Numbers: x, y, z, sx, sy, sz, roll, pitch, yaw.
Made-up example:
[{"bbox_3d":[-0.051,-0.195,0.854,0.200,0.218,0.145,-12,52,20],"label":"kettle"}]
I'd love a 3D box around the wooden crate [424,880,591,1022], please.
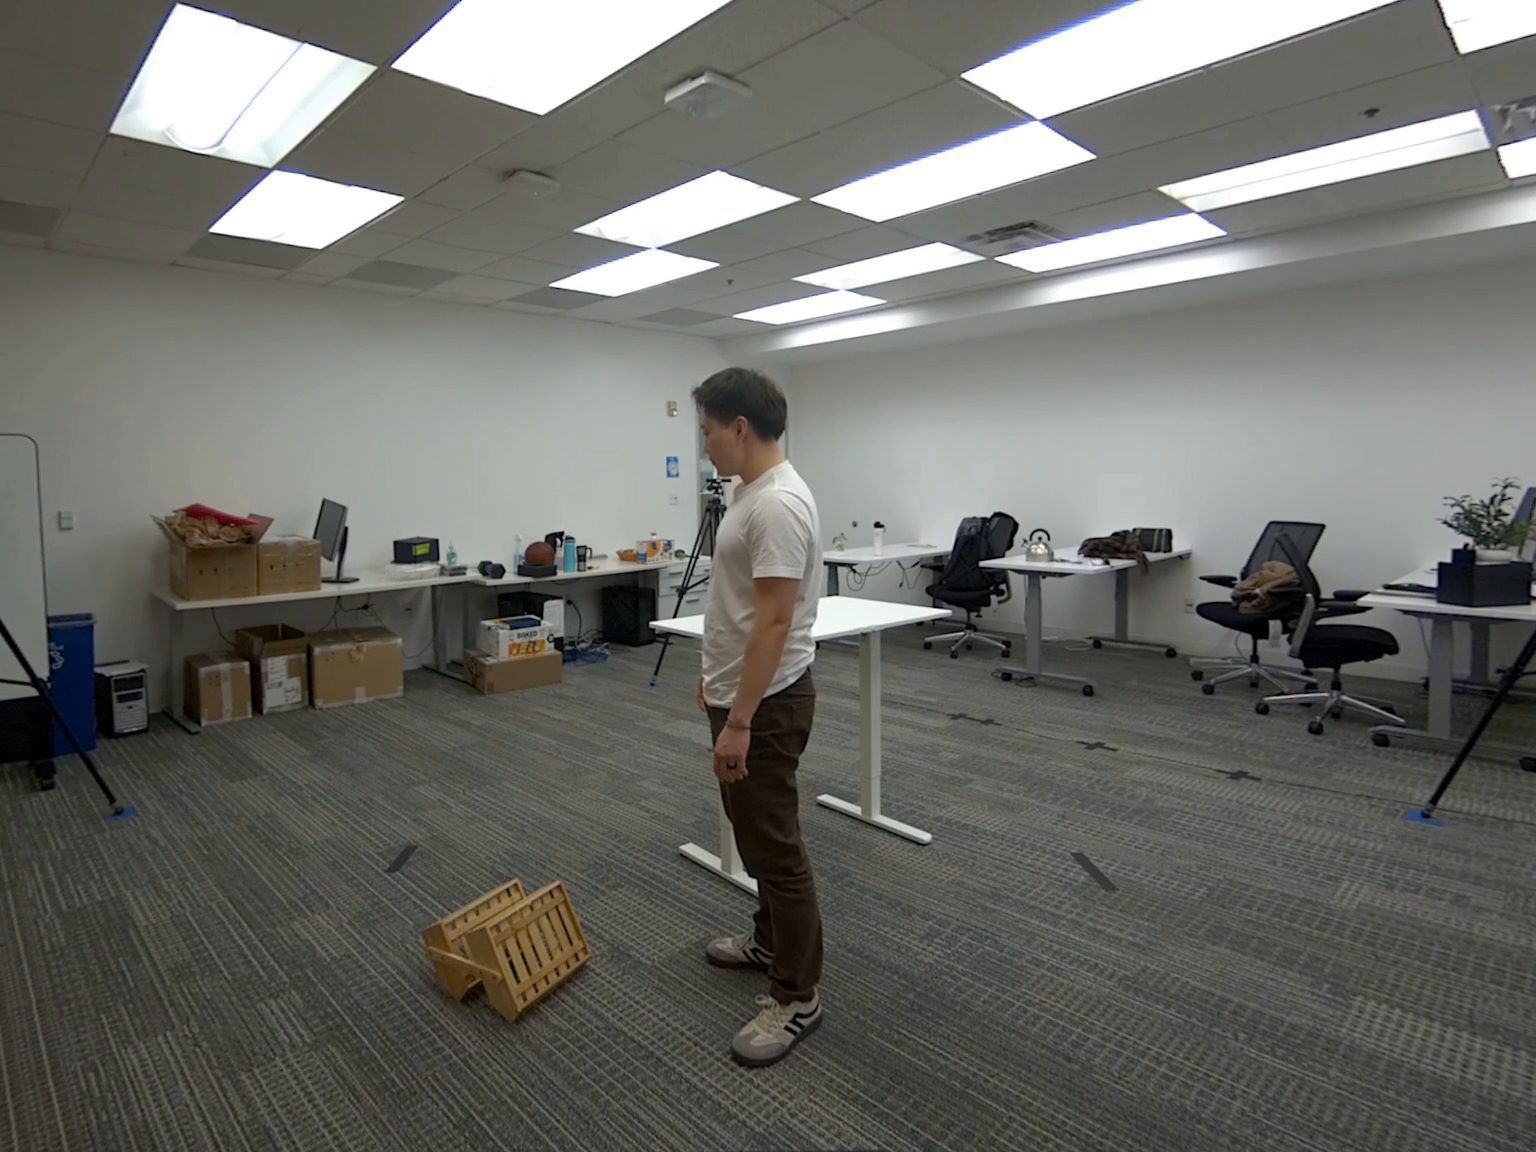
[{"bbox_3d":[-0.726,1.050,2.419,0.276,0.306,0.318,-30,-9,28],"label":"wooden crate"}]
